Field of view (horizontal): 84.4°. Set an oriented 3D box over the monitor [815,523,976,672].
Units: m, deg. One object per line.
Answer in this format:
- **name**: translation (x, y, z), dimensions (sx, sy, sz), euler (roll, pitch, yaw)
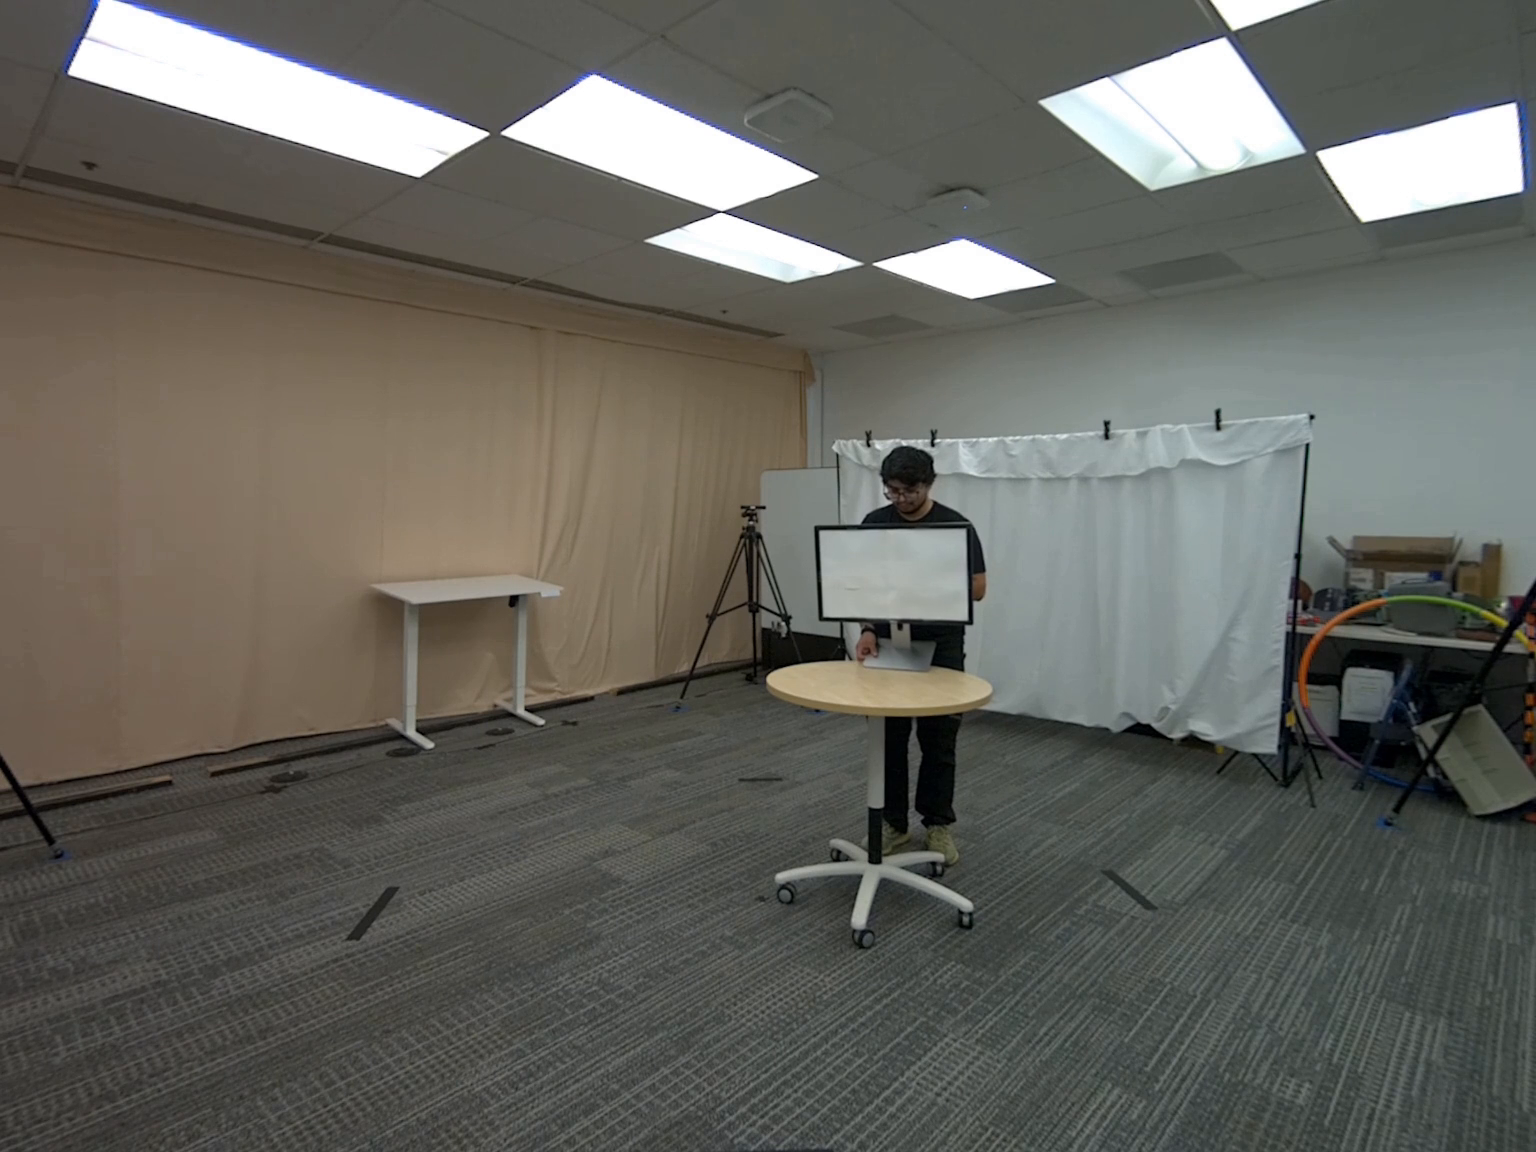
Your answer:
- **monitor**: translation (0.478, 0.057, 3.127), dimensions (0.578, 0.548, 0.208), euler (0, 16, 21)
